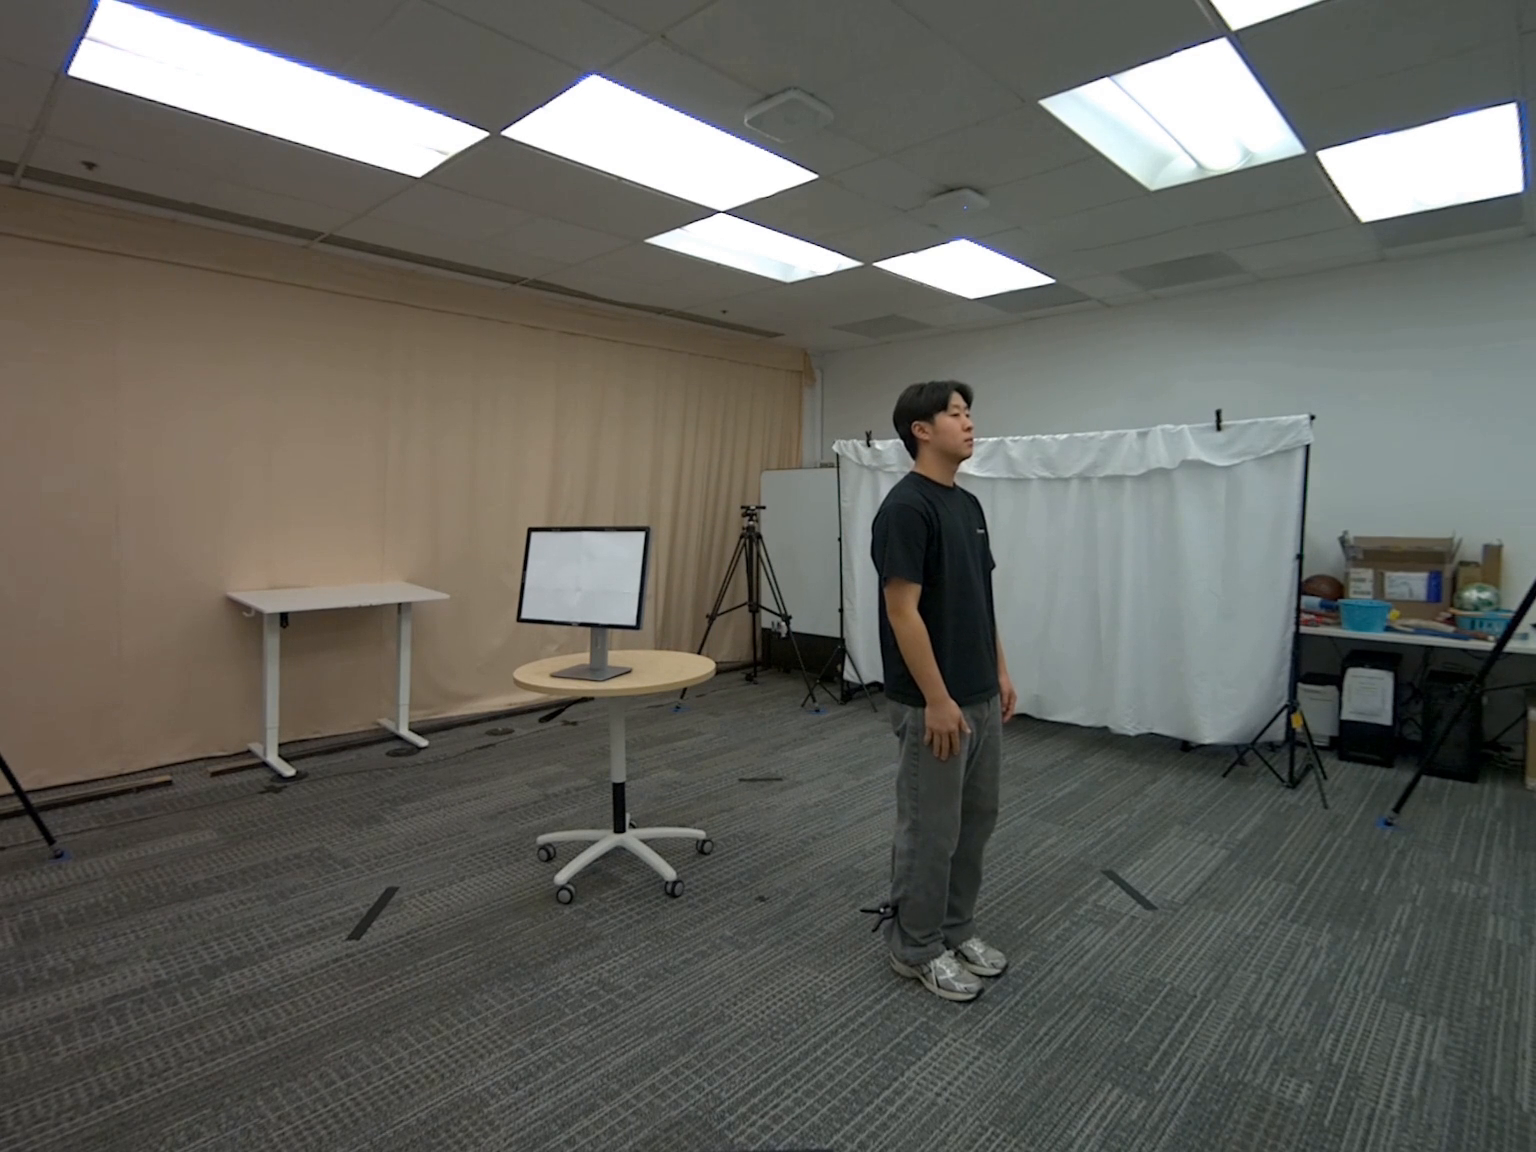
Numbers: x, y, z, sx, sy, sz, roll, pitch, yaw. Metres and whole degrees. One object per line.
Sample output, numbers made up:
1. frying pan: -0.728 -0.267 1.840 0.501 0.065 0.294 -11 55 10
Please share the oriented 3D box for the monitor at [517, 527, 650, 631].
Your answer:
1. monitor: -0.659 0.103 3.074 0.578 0.564 0.216 1 6 30
